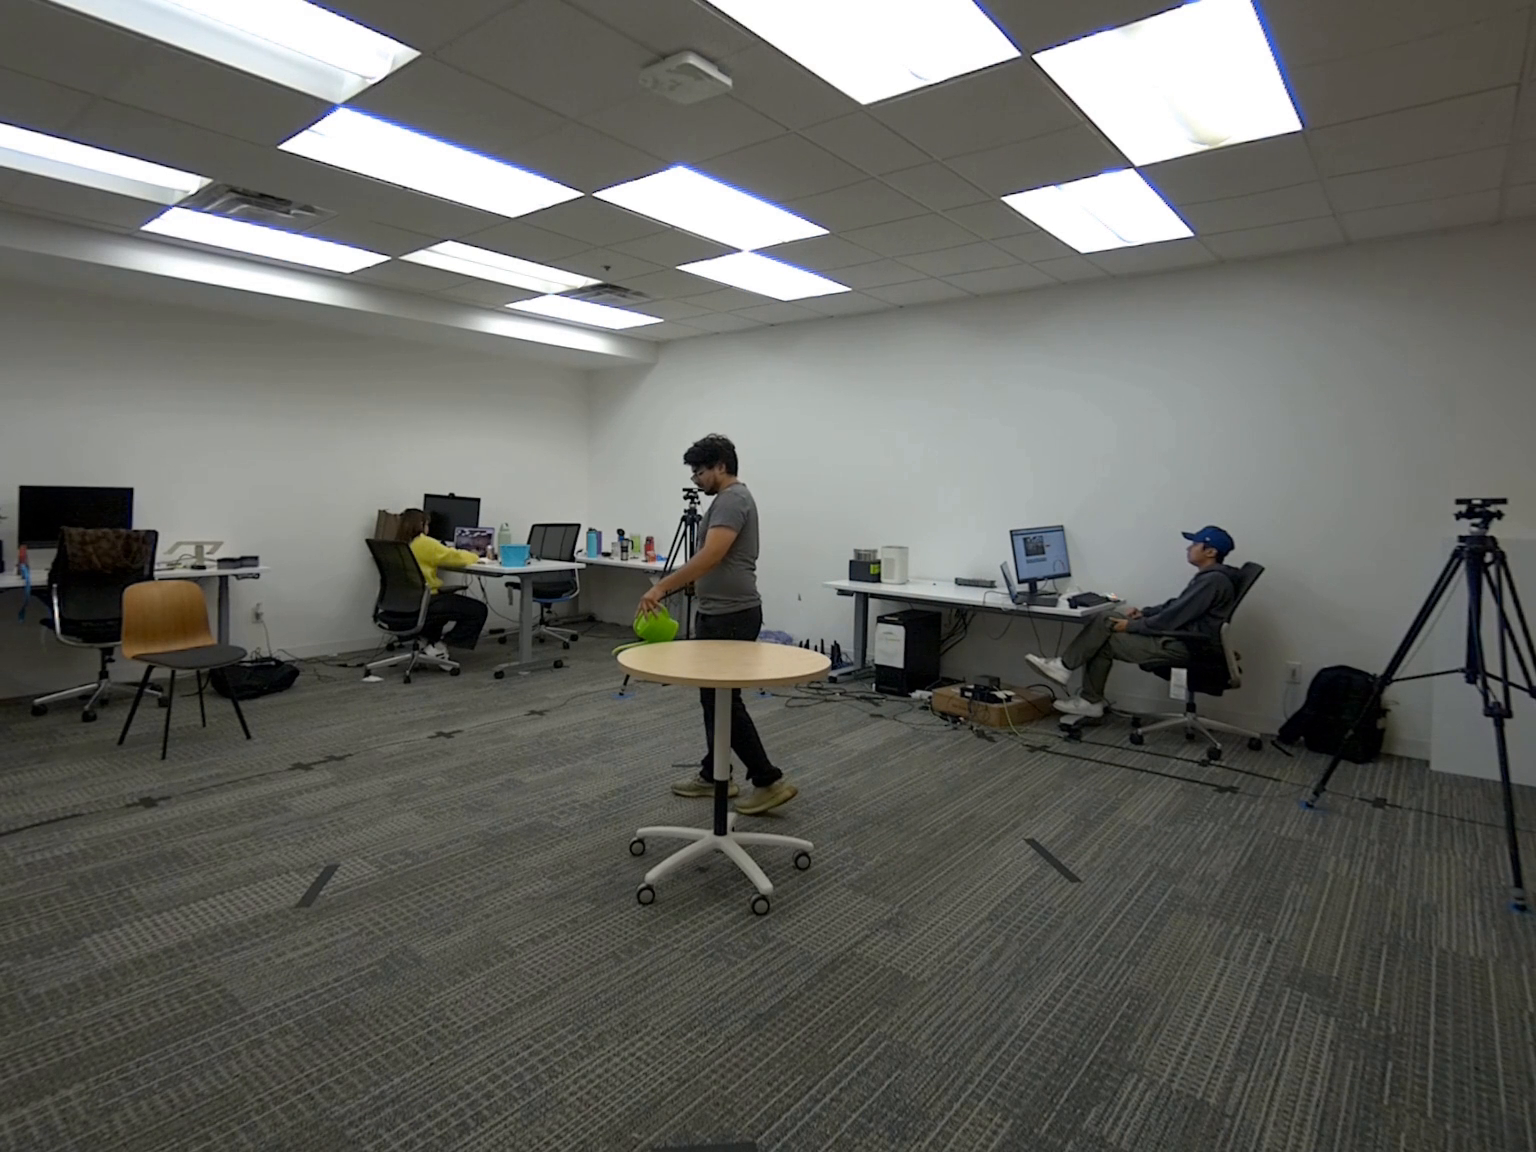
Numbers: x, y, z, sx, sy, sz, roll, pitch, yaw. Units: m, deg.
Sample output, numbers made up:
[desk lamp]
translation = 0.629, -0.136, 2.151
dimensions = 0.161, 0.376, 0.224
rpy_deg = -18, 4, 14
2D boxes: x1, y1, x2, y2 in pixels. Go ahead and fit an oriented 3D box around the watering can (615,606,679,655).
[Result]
[watering can]
translation = -0.514, 0.238, 3.538
dimensions = 0.171, 0.278, 0.101
rpy_deg = 33, 18, -29
